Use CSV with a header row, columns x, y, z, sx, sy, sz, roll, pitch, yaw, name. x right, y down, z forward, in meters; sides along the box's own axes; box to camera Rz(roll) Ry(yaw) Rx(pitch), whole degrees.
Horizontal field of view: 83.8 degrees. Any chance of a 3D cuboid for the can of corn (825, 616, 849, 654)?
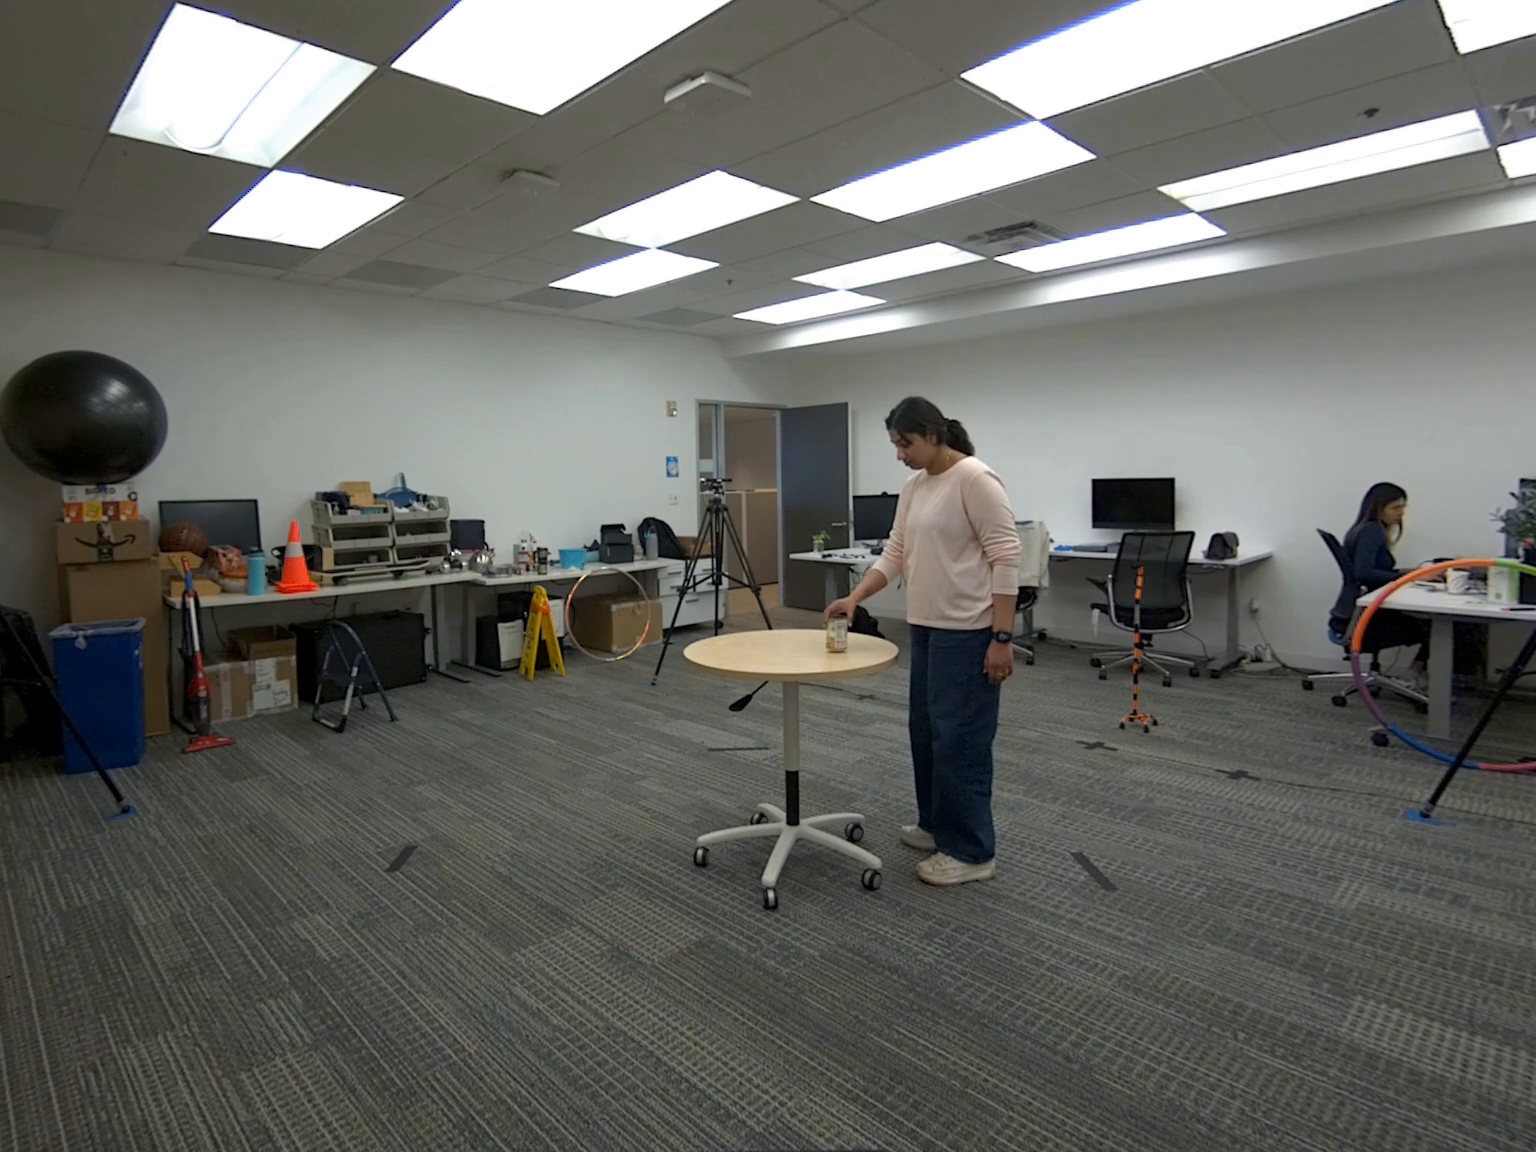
x,y,z,sx,sy,sz,roll,pitch,yaw,name
0.246,0.196,2.999,0.074,0.110,0.075,0,6,-2,can of corn
